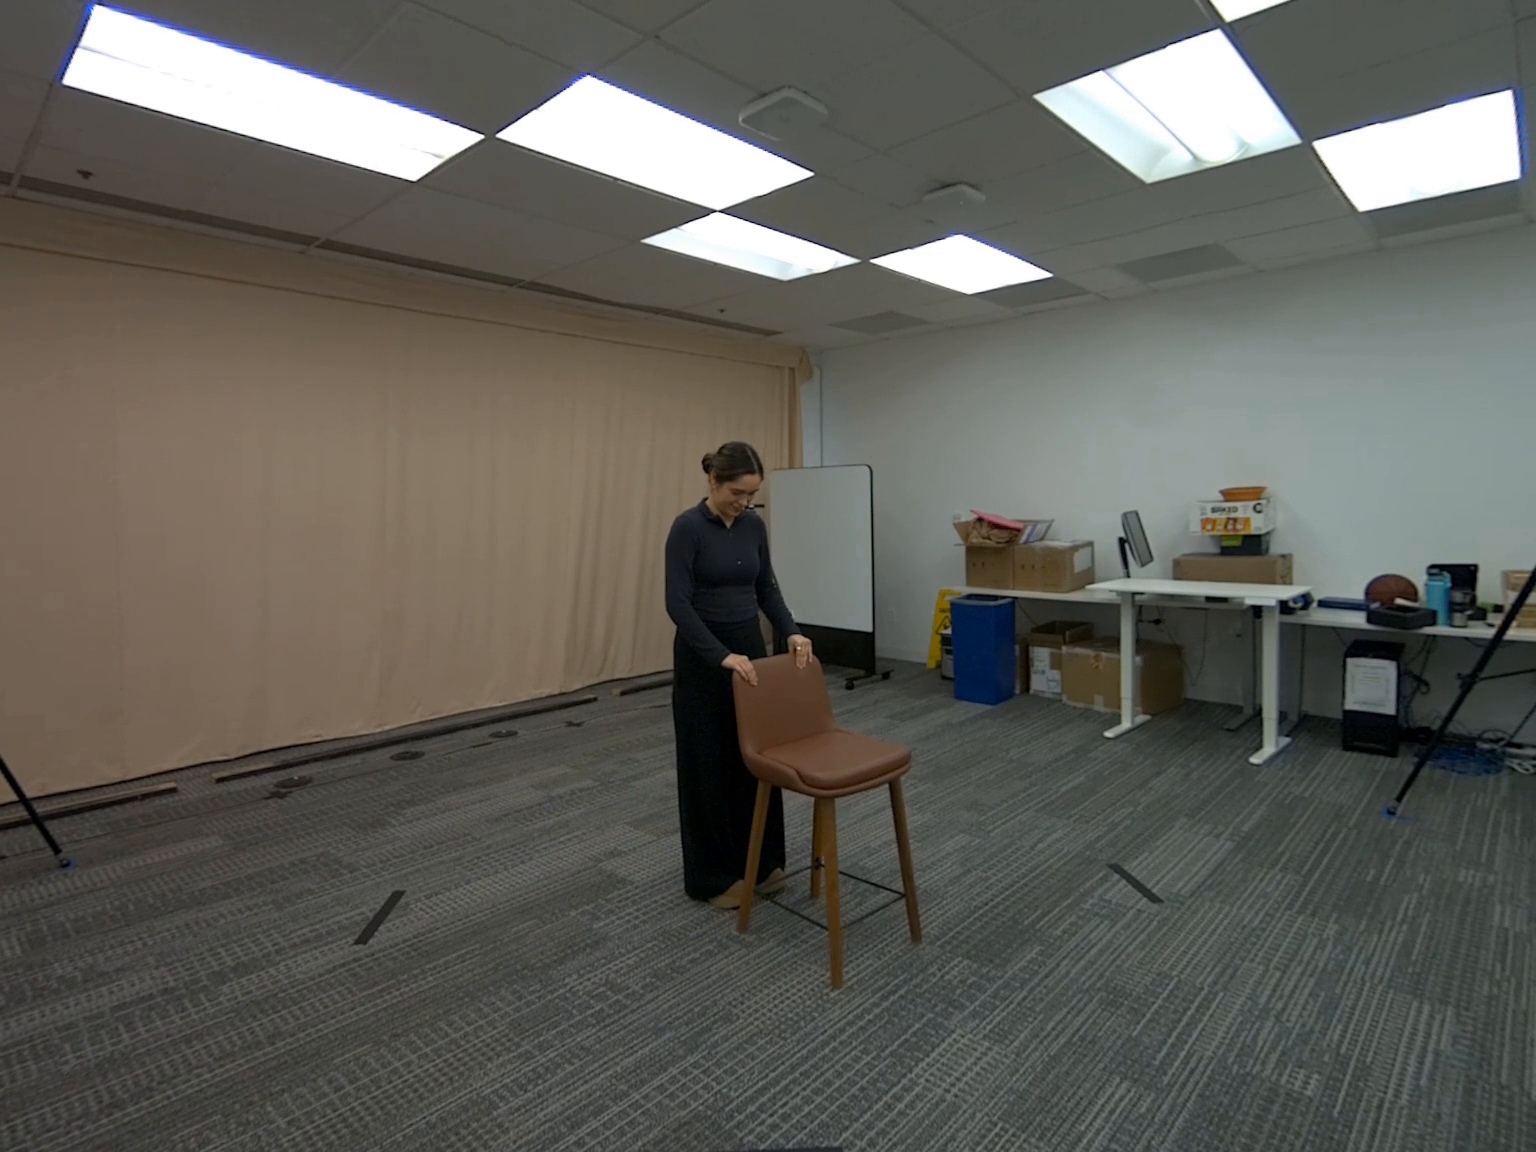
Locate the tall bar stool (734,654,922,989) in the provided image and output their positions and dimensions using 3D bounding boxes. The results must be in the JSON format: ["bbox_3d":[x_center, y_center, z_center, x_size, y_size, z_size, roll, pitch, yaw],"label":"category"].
[{"bbox_3d":[0.185,0.725,2.692,0.442,0.889,0.482,-3,2,-42],"label":"tall bar stool"}]
